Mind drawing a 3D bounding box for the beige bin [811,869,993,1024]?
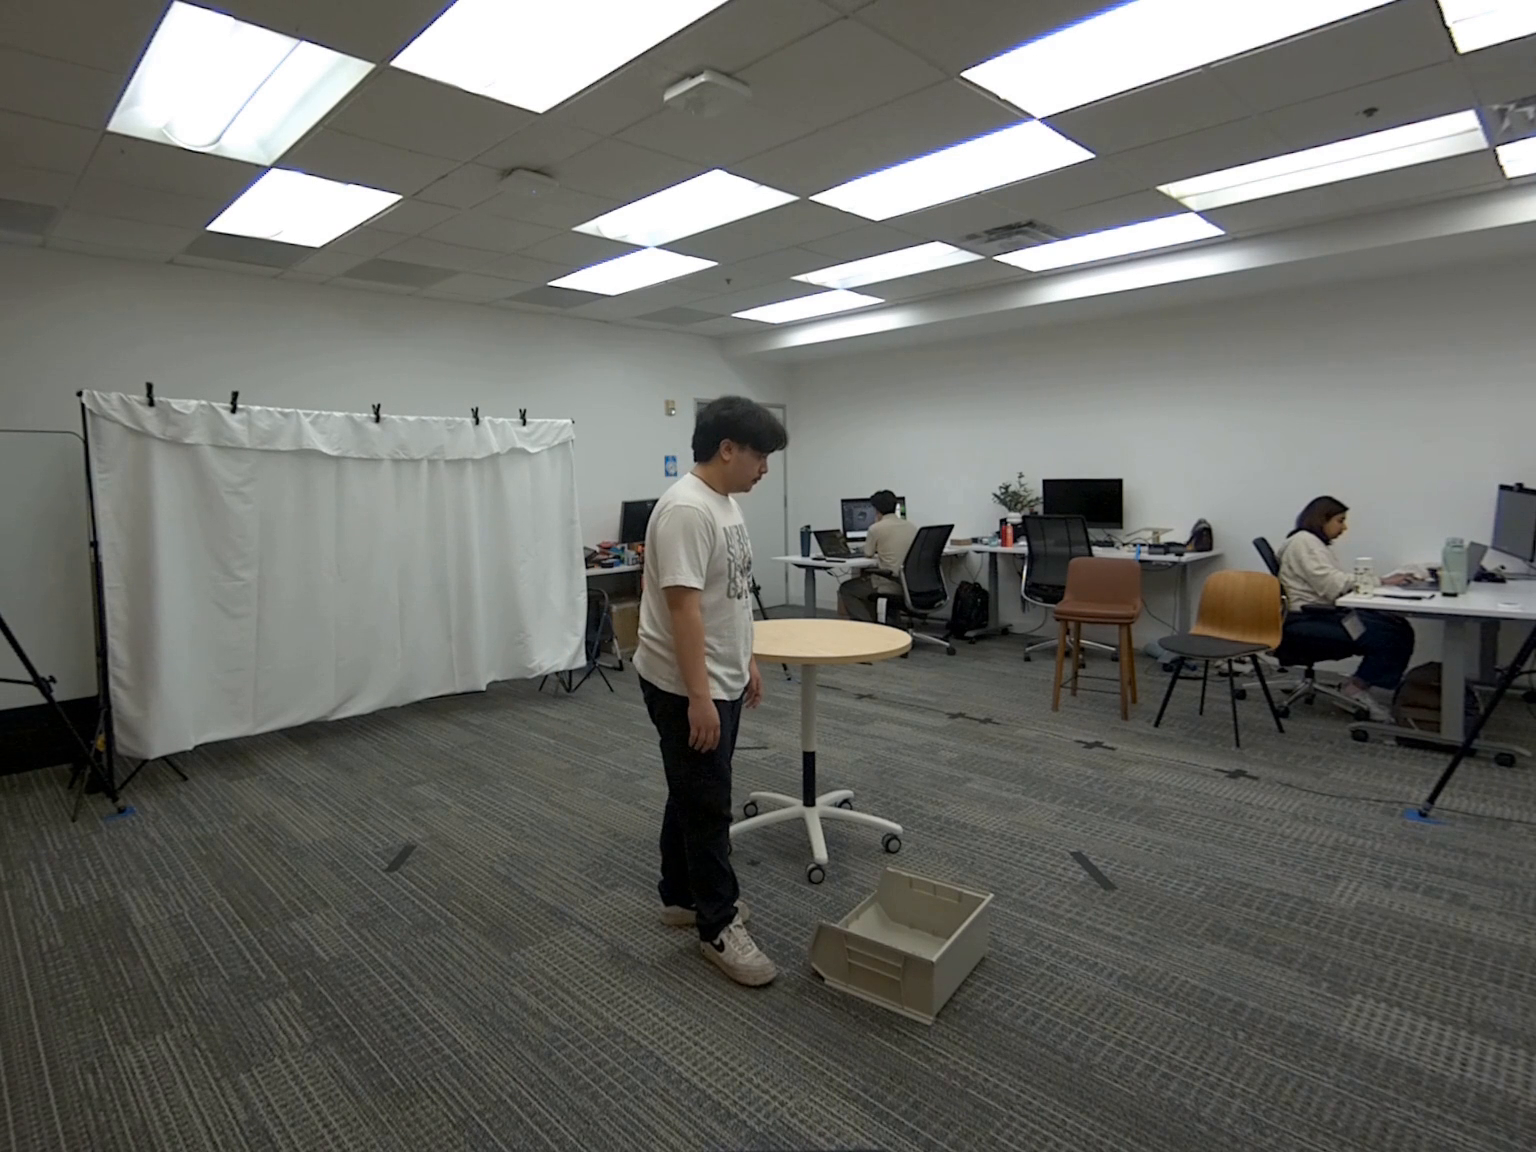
[{"bbox_3d":[0.385,1.022,2.432,0.388,0.188,0.412,4,7,35],"label":"beige bin"}]
